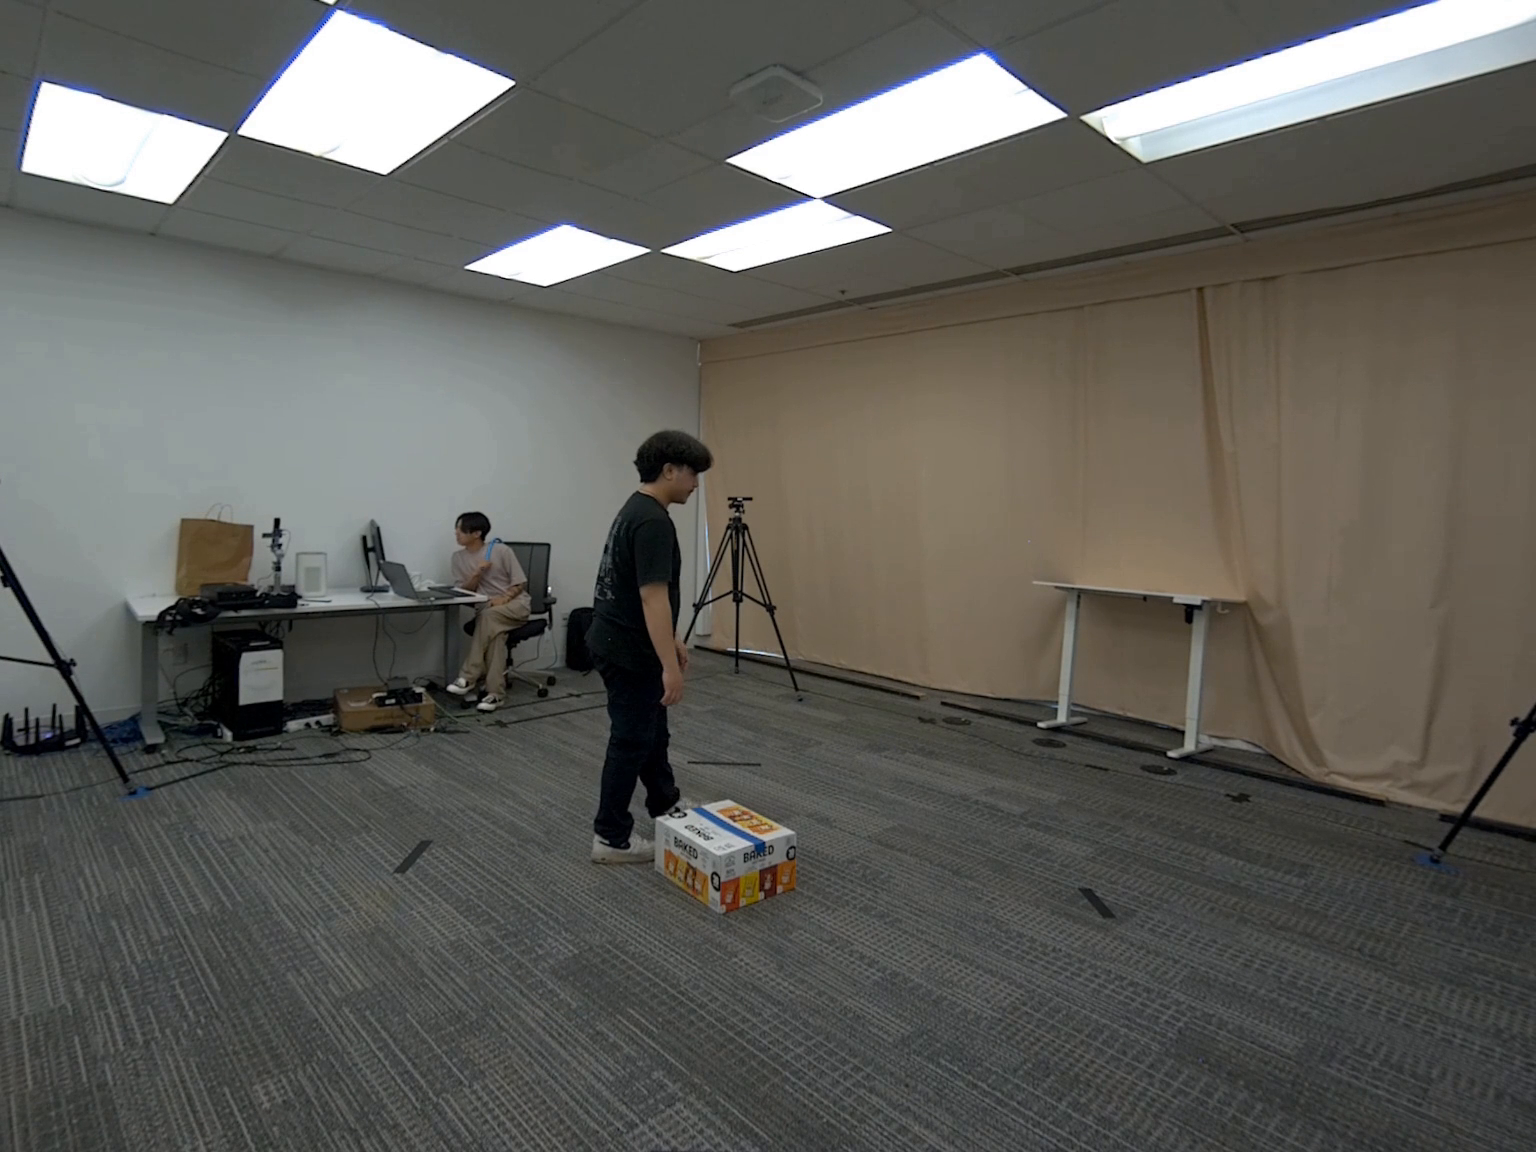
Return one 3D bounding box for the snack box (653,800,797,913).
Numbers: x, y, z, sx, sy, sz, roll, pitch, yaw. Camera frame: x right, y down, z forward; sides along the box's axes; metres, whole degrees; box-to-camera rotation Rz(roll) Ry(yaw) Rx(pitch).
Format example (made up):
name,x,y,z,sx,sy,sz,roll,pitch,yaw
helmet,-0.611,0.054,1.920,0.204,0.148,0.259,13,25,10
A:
name,x,y,z,sx,sy,sz,roll,pitch,yaw
snack box,-0.166,1.010,3.066,0.333,0.205,0.415,-2,6,-38
